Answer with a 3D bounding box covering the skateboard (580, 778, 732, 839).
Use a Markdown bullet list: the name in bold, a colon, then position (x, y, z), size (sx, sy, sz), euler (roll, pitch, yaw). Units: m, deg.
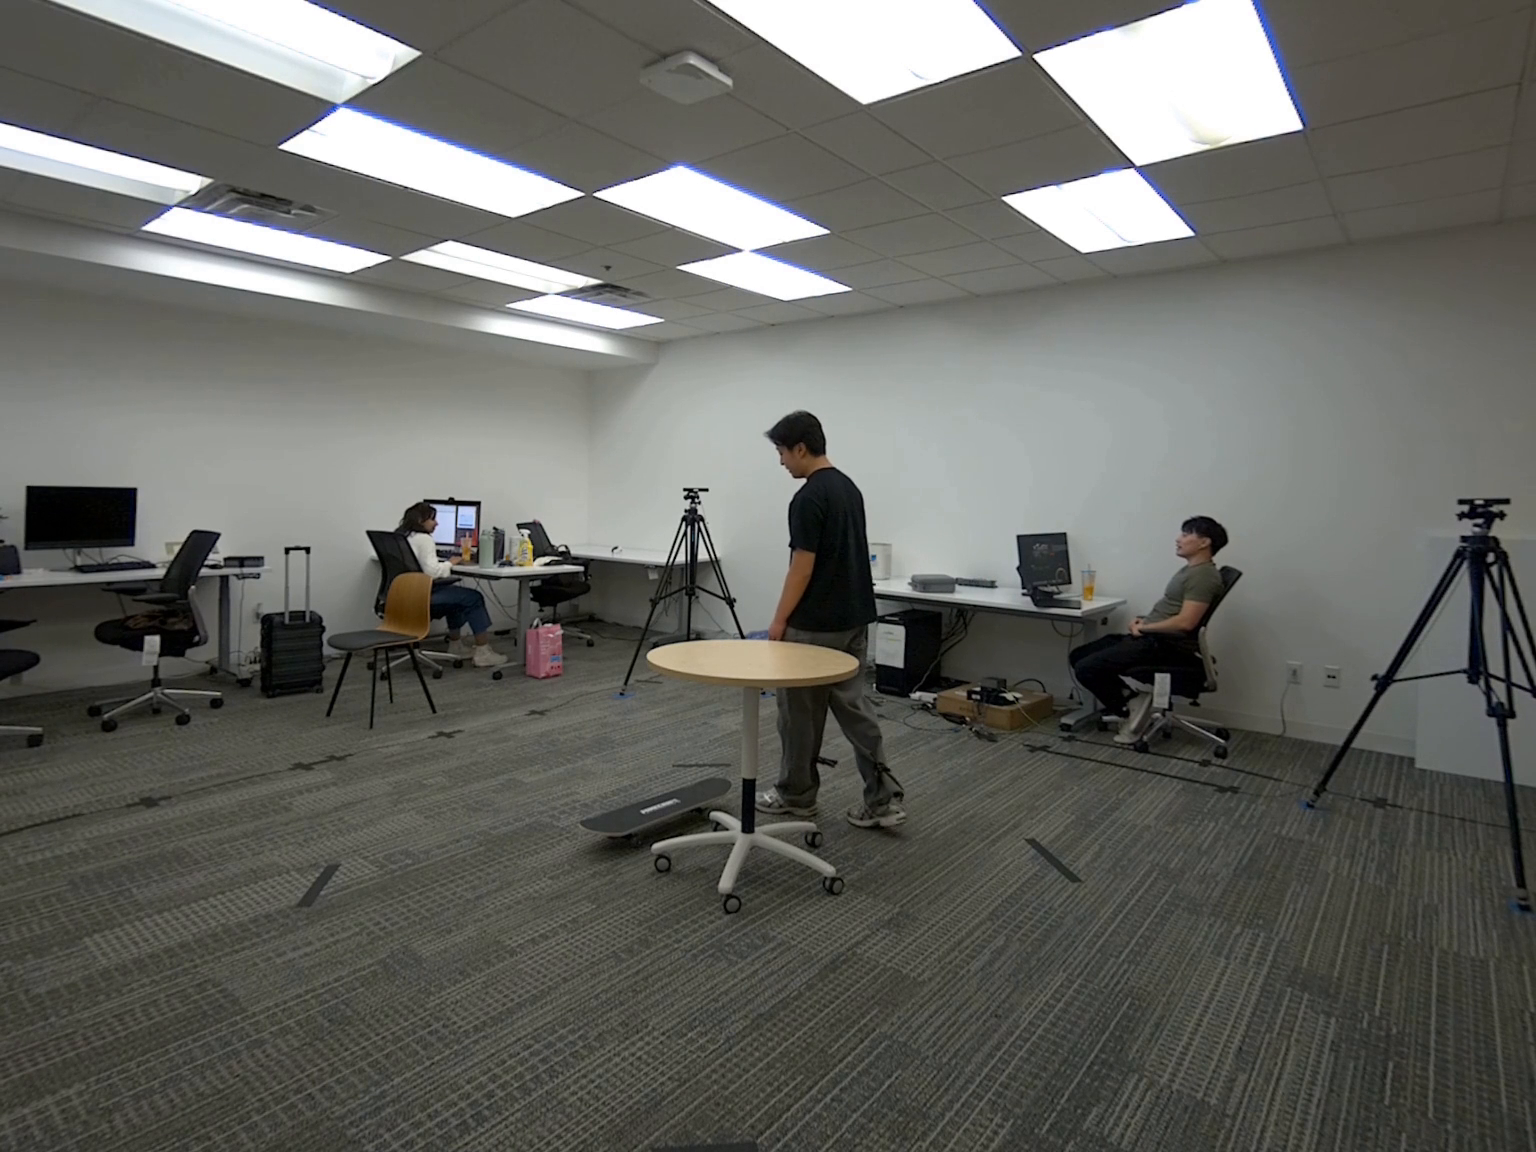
- **skateboard**: position (-0.451, 0.979, 3.490), size (0.200, 0.110, 0.762), euler (6, 8, 41)
